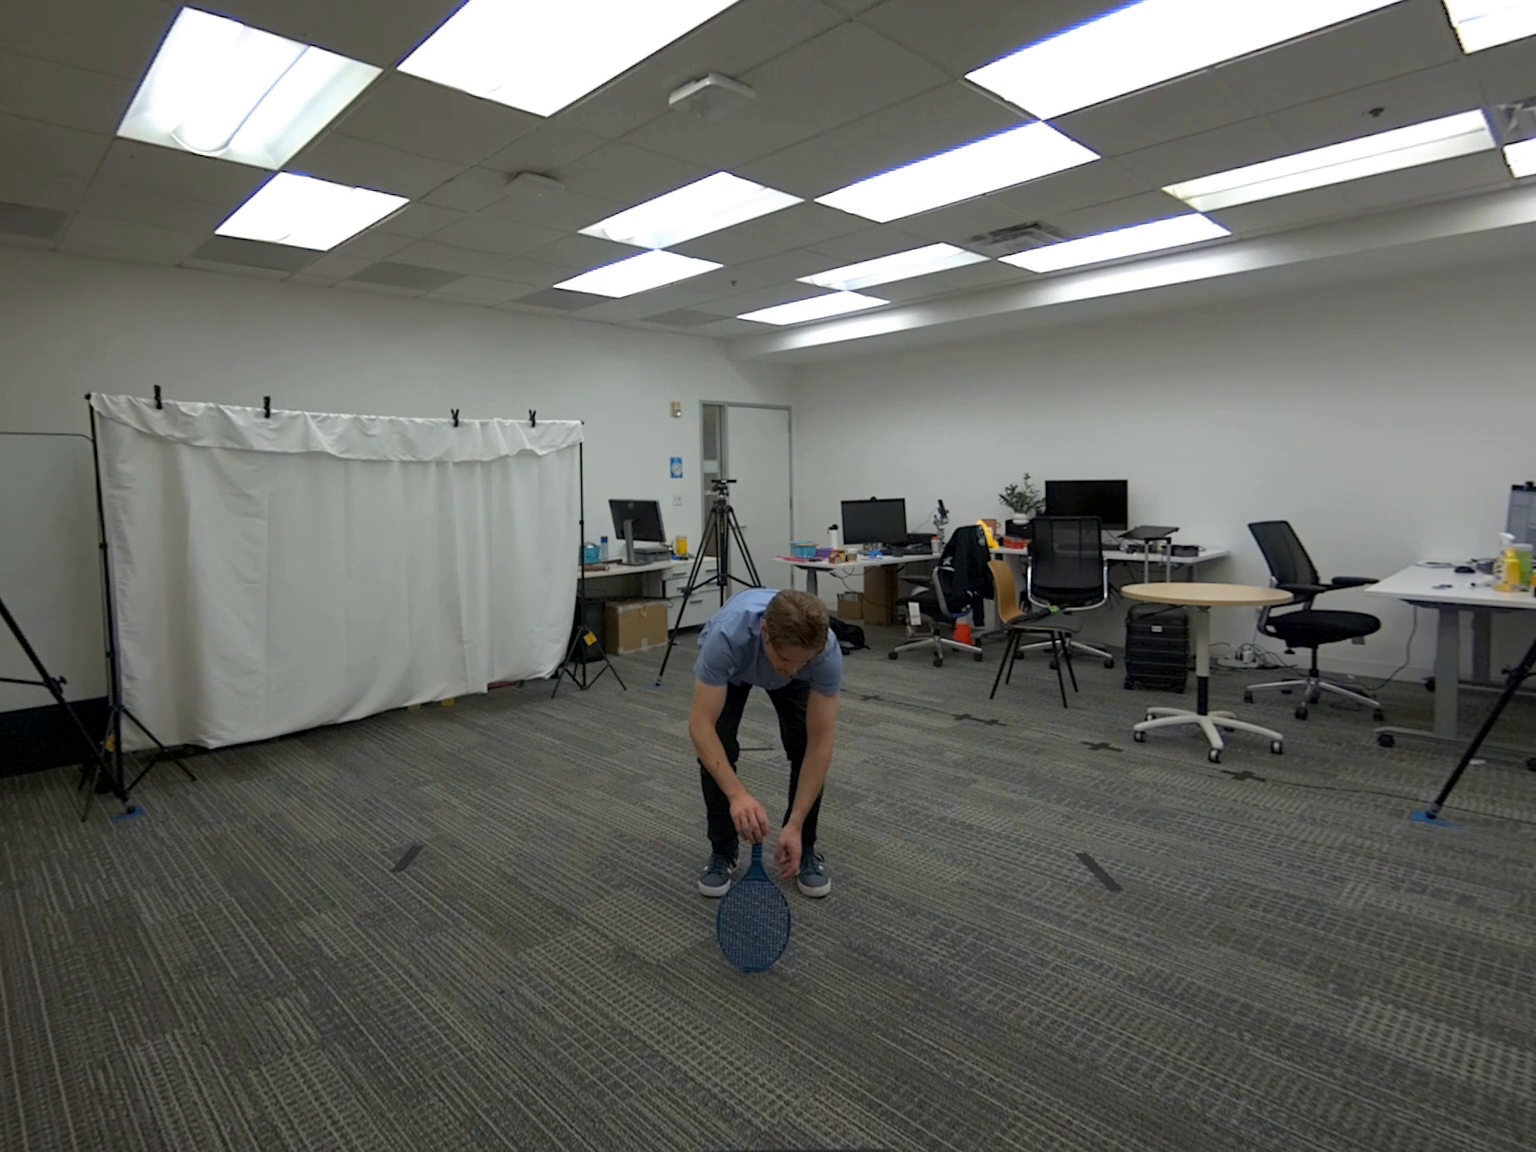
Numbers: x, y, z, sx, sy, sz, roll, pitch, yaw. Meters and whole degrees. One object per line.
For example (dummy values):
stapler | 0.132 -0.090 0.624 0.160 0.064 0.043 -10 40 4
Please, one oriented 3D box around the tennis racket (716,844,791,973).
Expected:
tennis racket | -0.038 0.910 2.458 0.209 0.433 0.032 -3 0 -28
